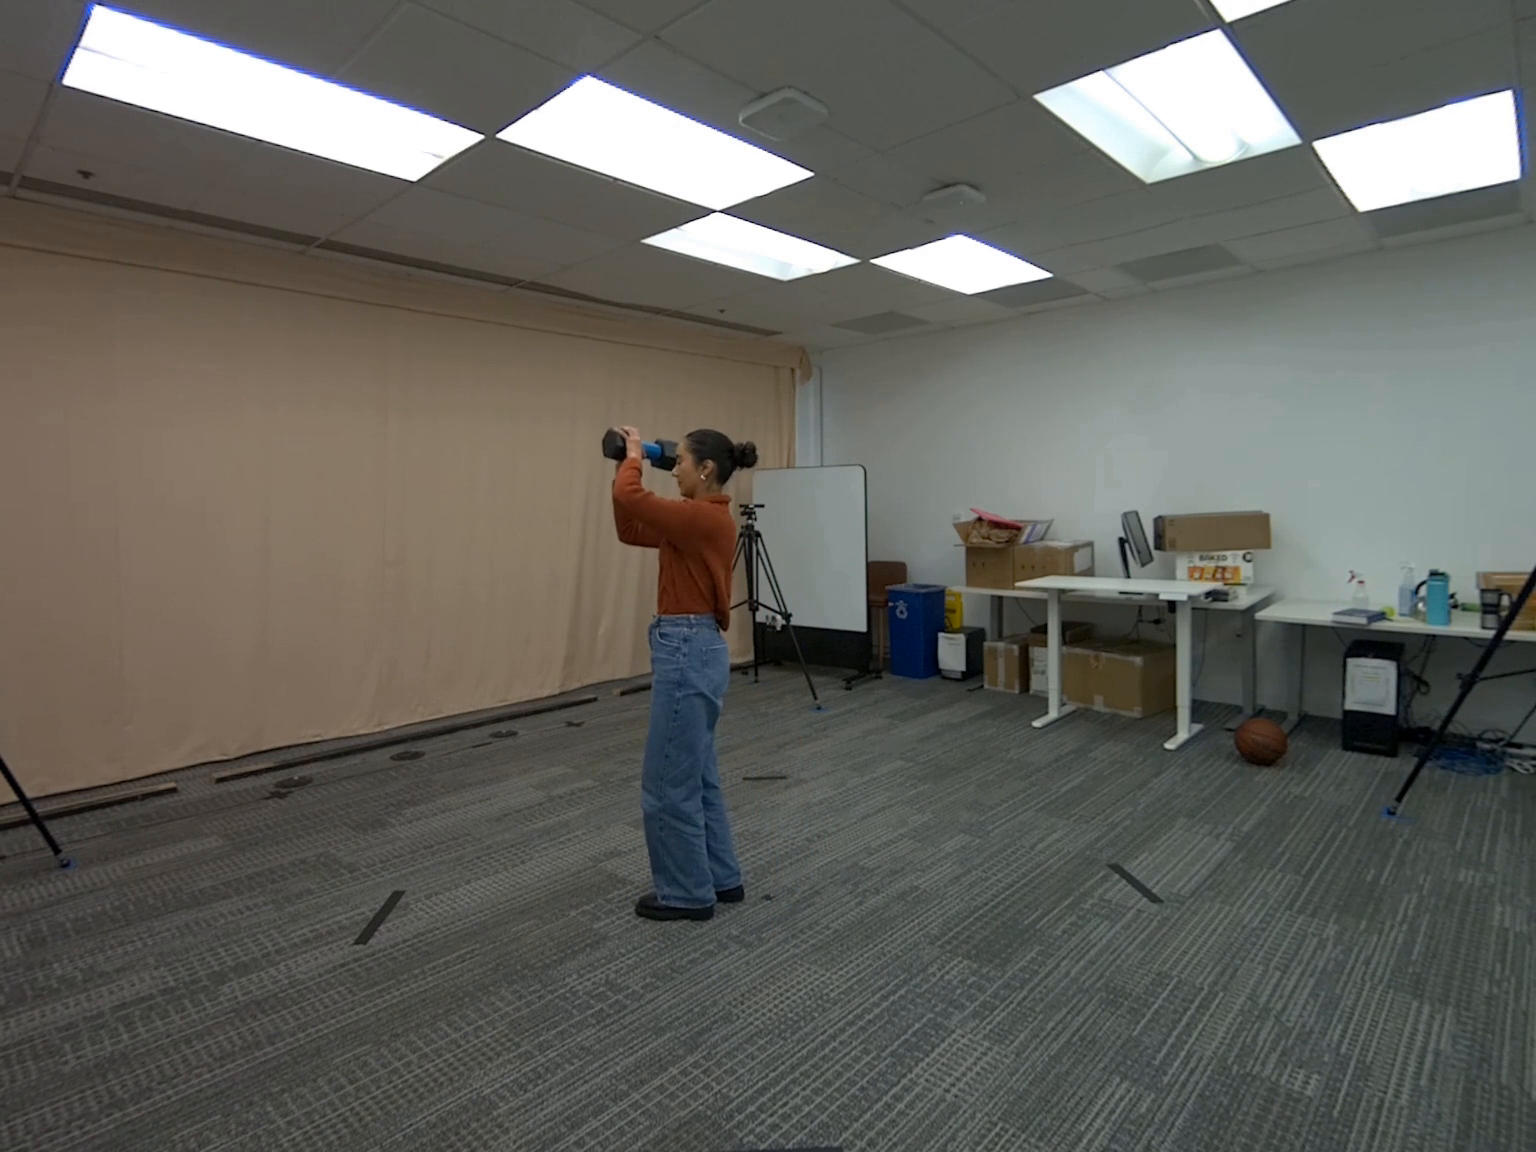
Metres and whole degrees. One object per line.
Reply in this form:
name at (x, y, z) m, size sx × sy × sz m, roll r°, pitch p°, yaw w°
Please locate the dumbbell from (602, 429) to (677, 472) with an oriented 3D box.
dumbbell at (-0.433, -0.446, 2.994) m, size 0.283 × 0.124 × 0.111 m, roll 8°, pitch -21°, yaw -43°
